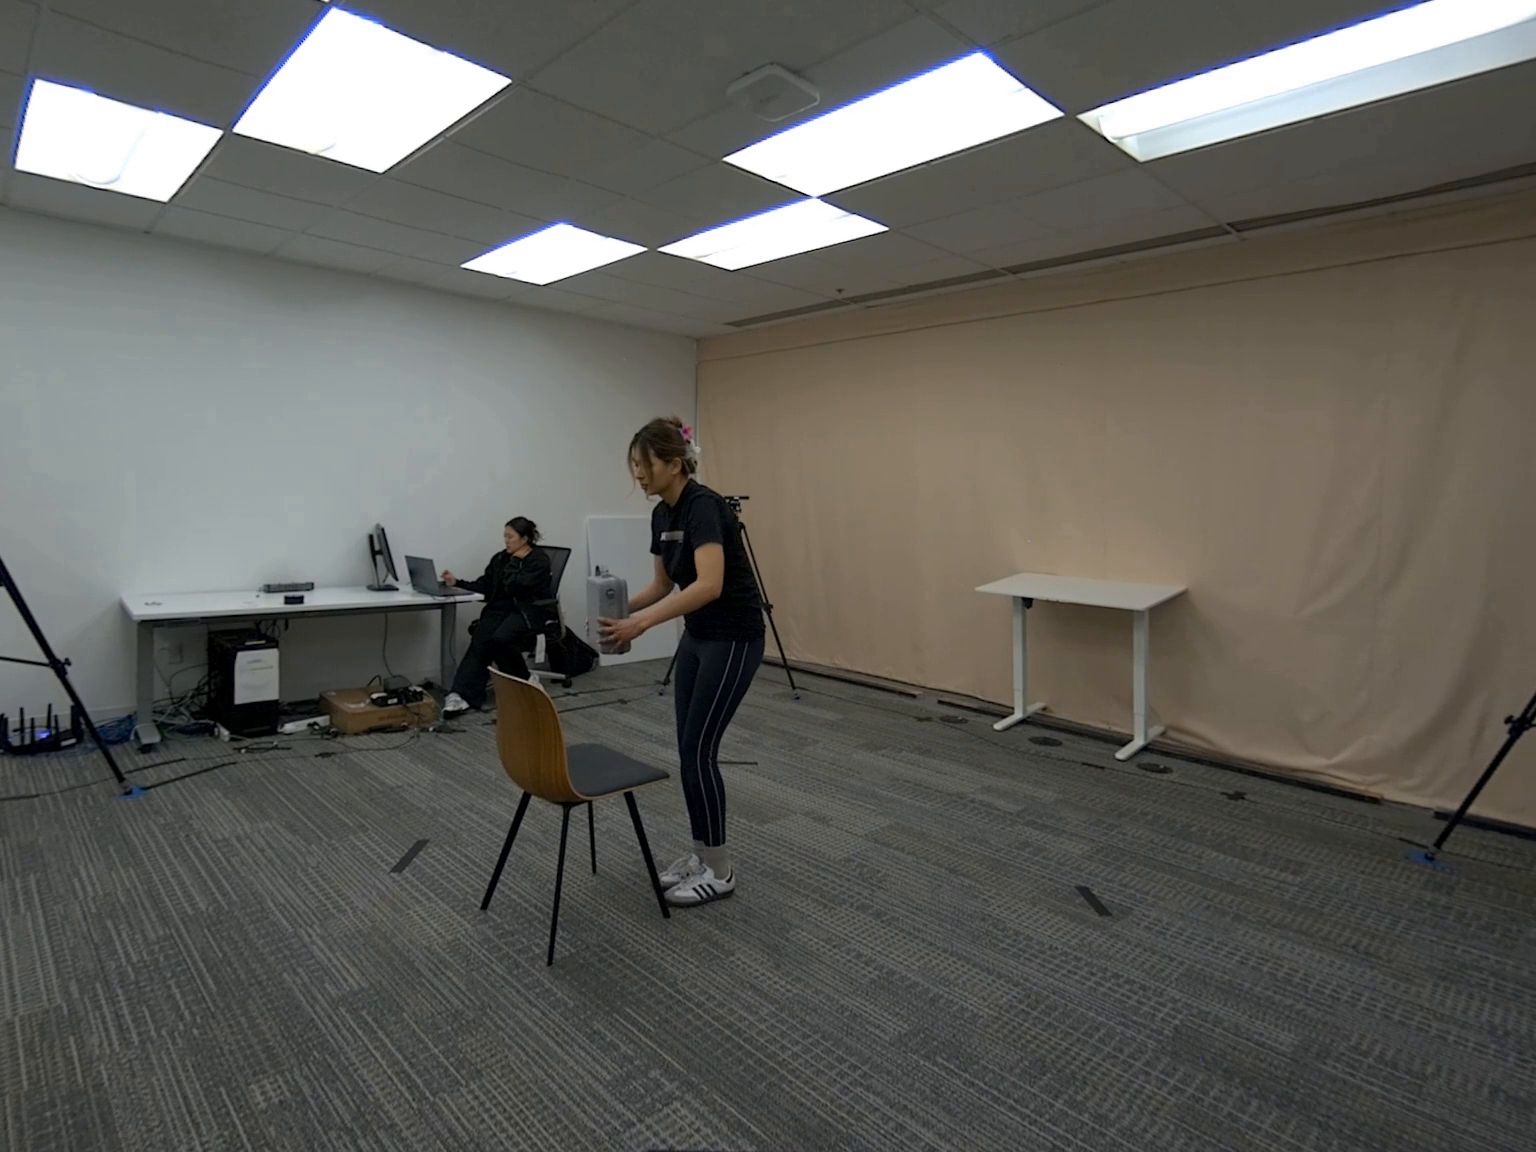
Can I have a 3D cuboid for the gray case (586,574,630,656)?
[{"bbox_3d":[-0.542,0.126,2.828,0.103,0.260,0.260,-2,2,-16],"label":"gray case"}]
